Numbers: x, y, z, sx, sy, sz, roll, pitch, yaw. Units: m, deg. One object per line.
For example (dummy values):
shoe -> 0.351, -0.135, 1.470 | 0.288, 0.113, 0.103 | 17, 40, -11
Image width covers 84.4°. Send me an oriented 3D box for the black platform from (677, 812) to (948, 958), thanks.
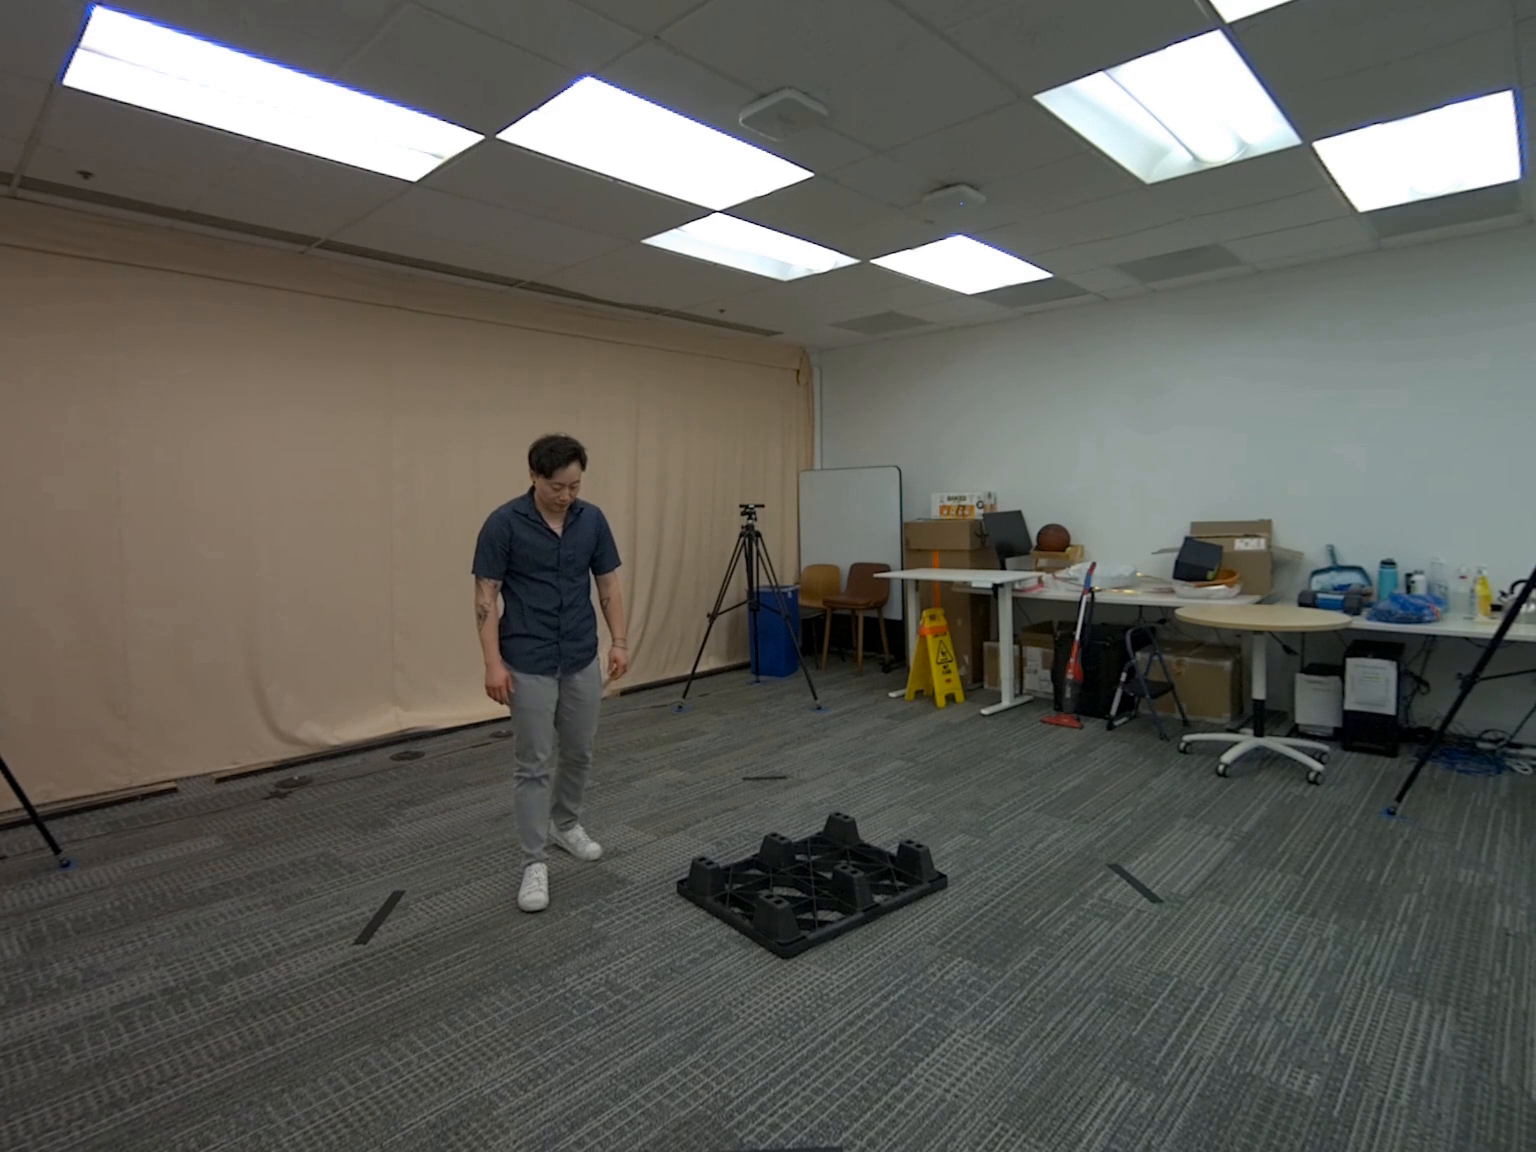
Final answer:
black platform -> 0.163, 1.066, 3.031 | 0.782, 0.143, 0.625 | -5, 6, -39
